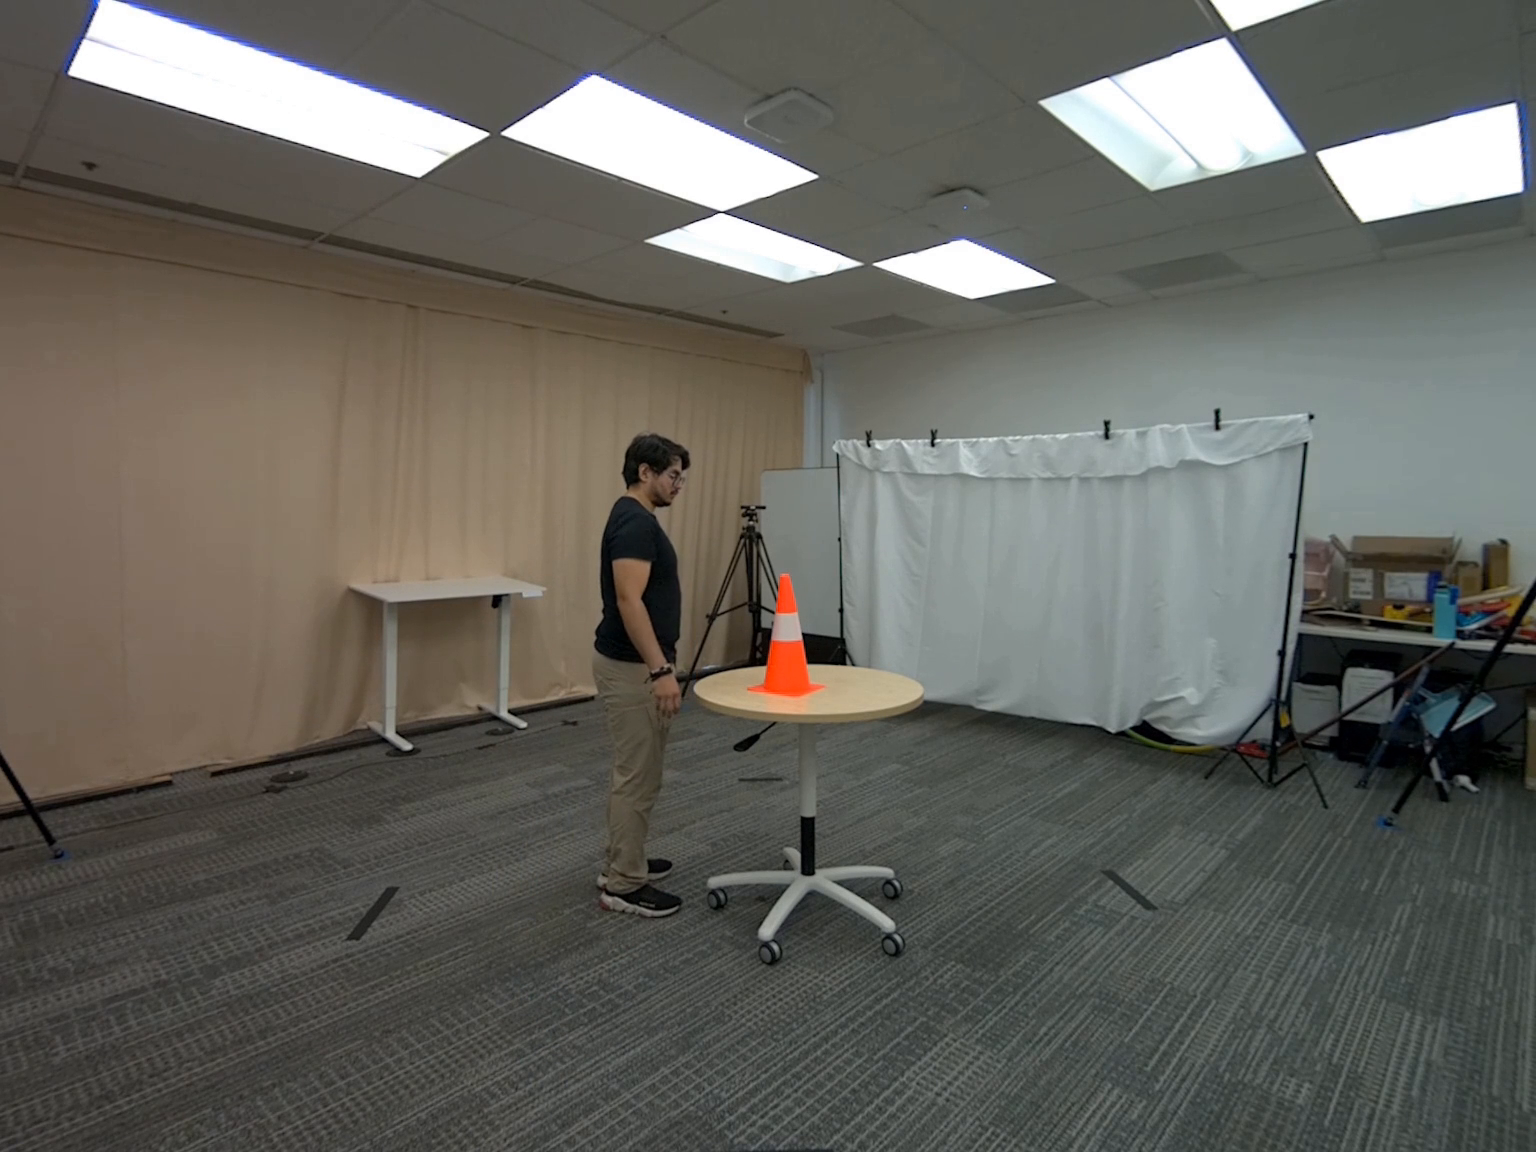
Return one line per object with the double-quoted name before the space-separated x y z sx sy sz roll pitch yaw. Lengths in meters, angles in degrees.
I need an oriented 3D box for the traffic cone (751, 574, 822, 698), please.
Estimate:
"traffic cone" 0.060 0.187 2.797 0.211 0.383 0.197 0 4 35
